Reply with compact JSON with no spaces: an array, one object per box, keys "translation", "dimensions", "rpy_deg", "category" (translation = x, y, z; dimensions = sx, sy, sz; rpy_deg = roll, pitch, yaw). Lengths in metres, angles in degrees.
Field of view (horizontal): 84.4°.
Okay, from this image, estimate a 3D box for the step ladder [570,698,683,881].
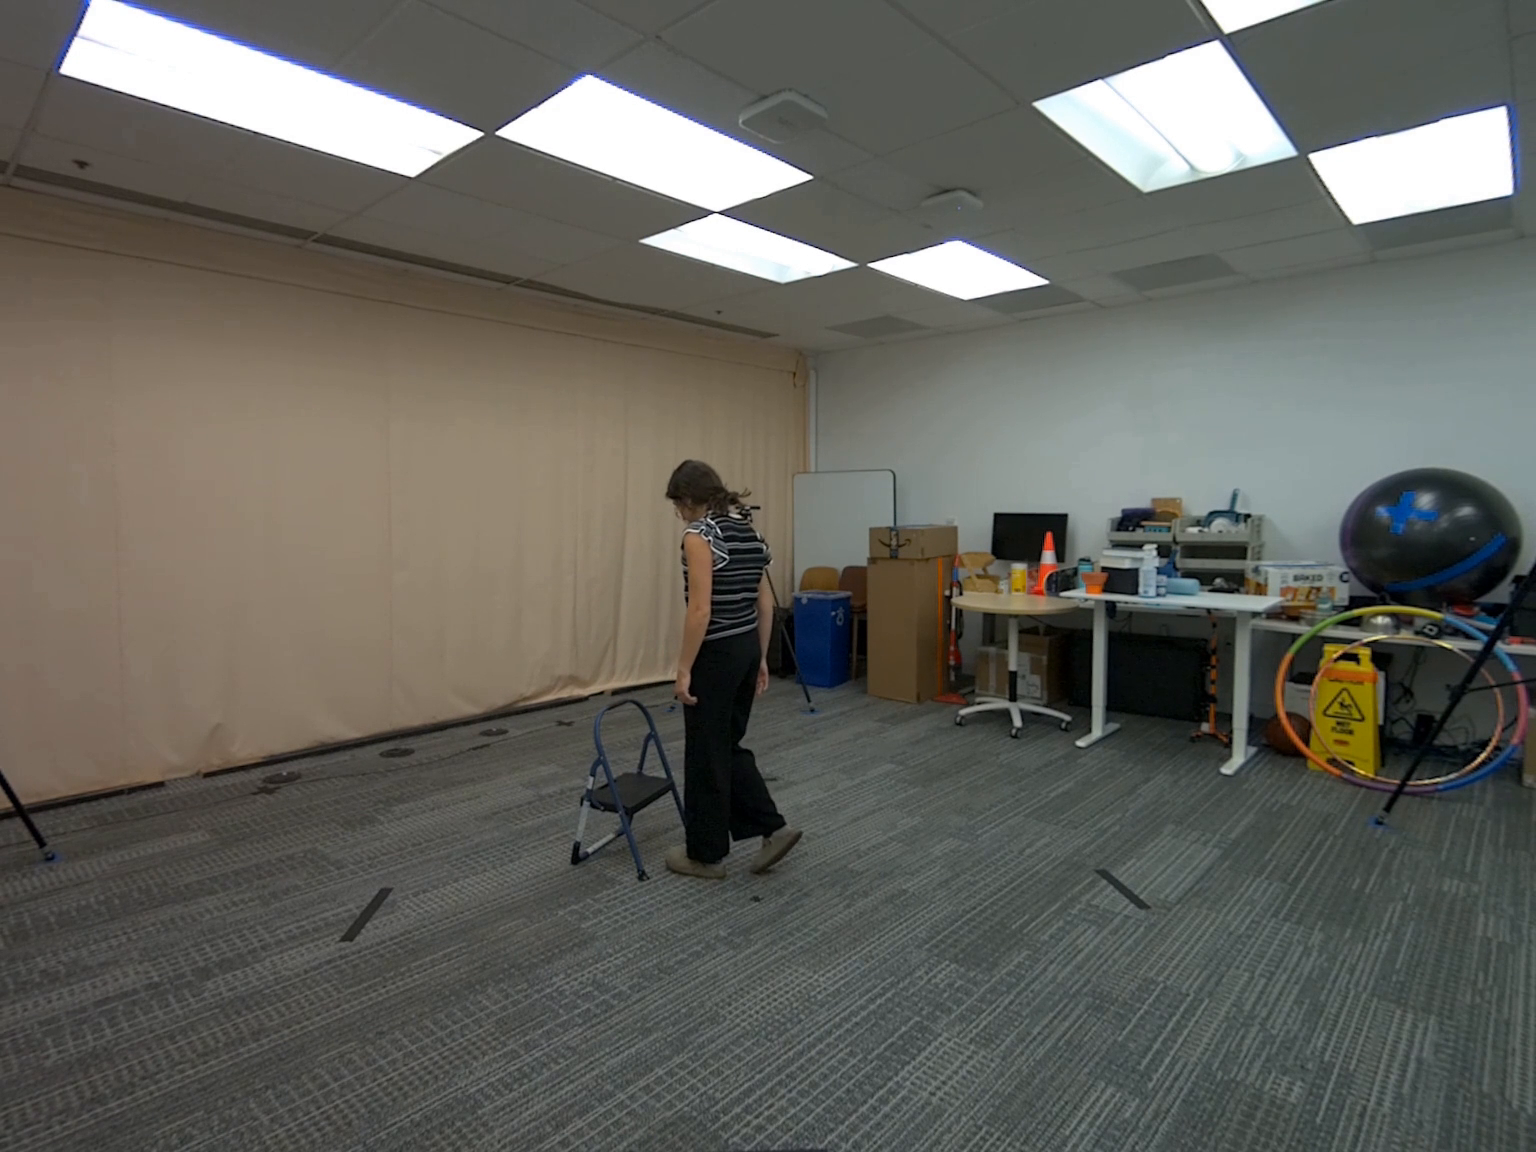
[{"translation":[-0.540,0.814,3.385],"dimensions":[0.358,0.605,0.421],"rpy_deg":[1,3,24],"category":"step ladder"}]
